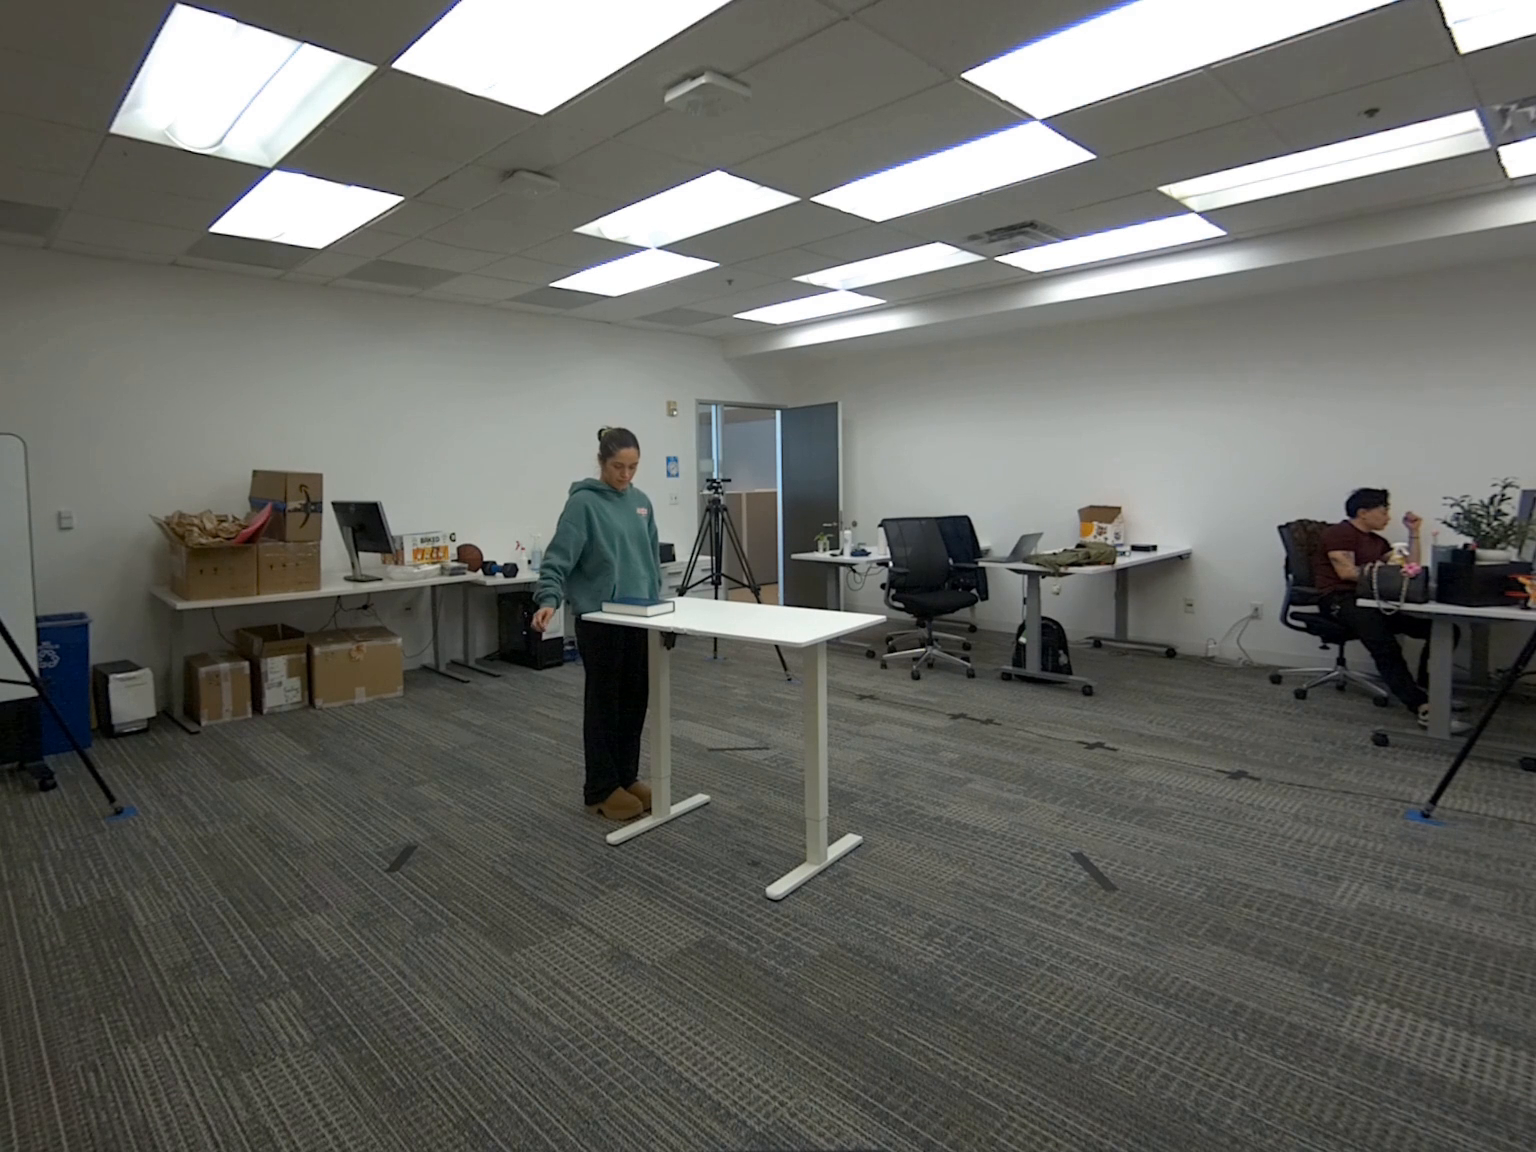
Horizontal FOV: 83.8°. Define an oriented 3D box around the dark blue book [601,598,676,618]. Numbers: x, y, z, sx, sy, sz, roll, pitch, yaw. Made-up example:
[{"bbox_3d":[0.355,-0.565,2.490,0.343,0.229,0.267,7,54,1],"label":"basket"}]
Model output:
[{"bbox_3d":[-0.507,0.123,3.344,0.252,0.045,0.160,3,8,32],"label":"dark blue book"}]
